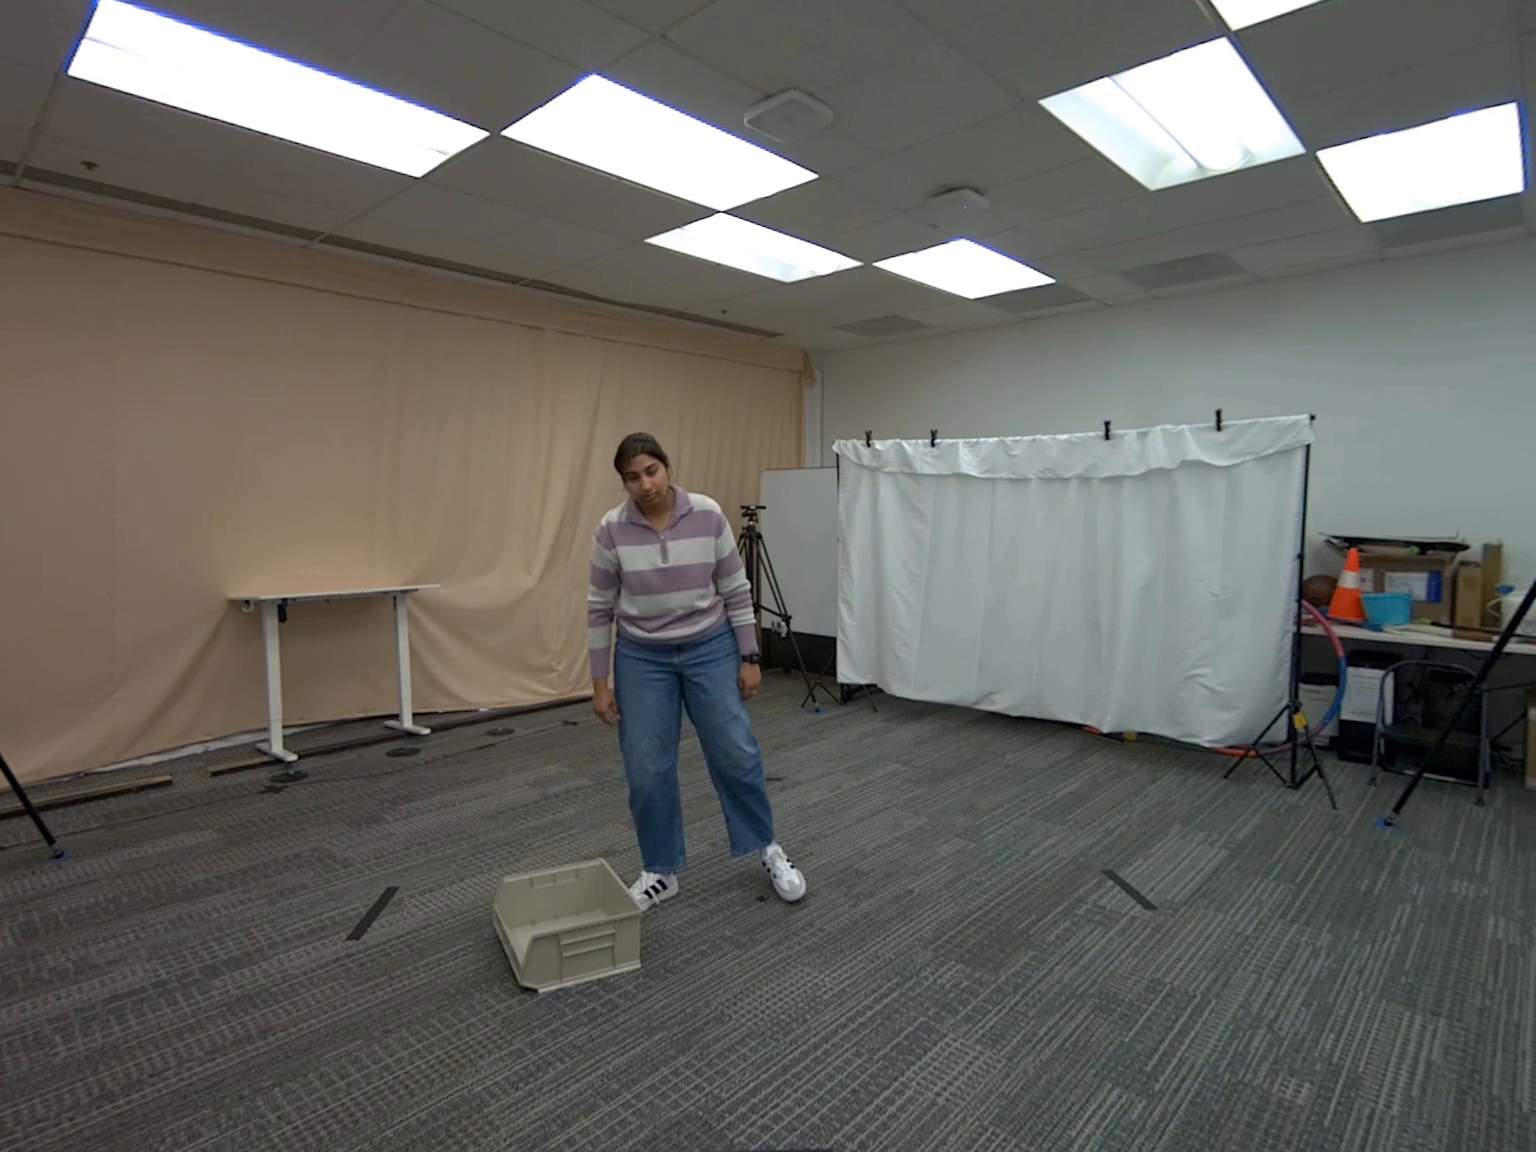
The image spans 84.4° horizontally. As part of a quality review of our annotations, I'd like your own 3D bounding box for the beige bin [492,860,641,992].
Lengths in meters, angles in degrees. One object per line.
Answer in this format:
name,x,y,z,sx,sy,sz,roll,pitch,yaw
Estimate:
beige bin,-0.635,1.088,2.645,0.368,0.188,0.434,-2,4,-28
